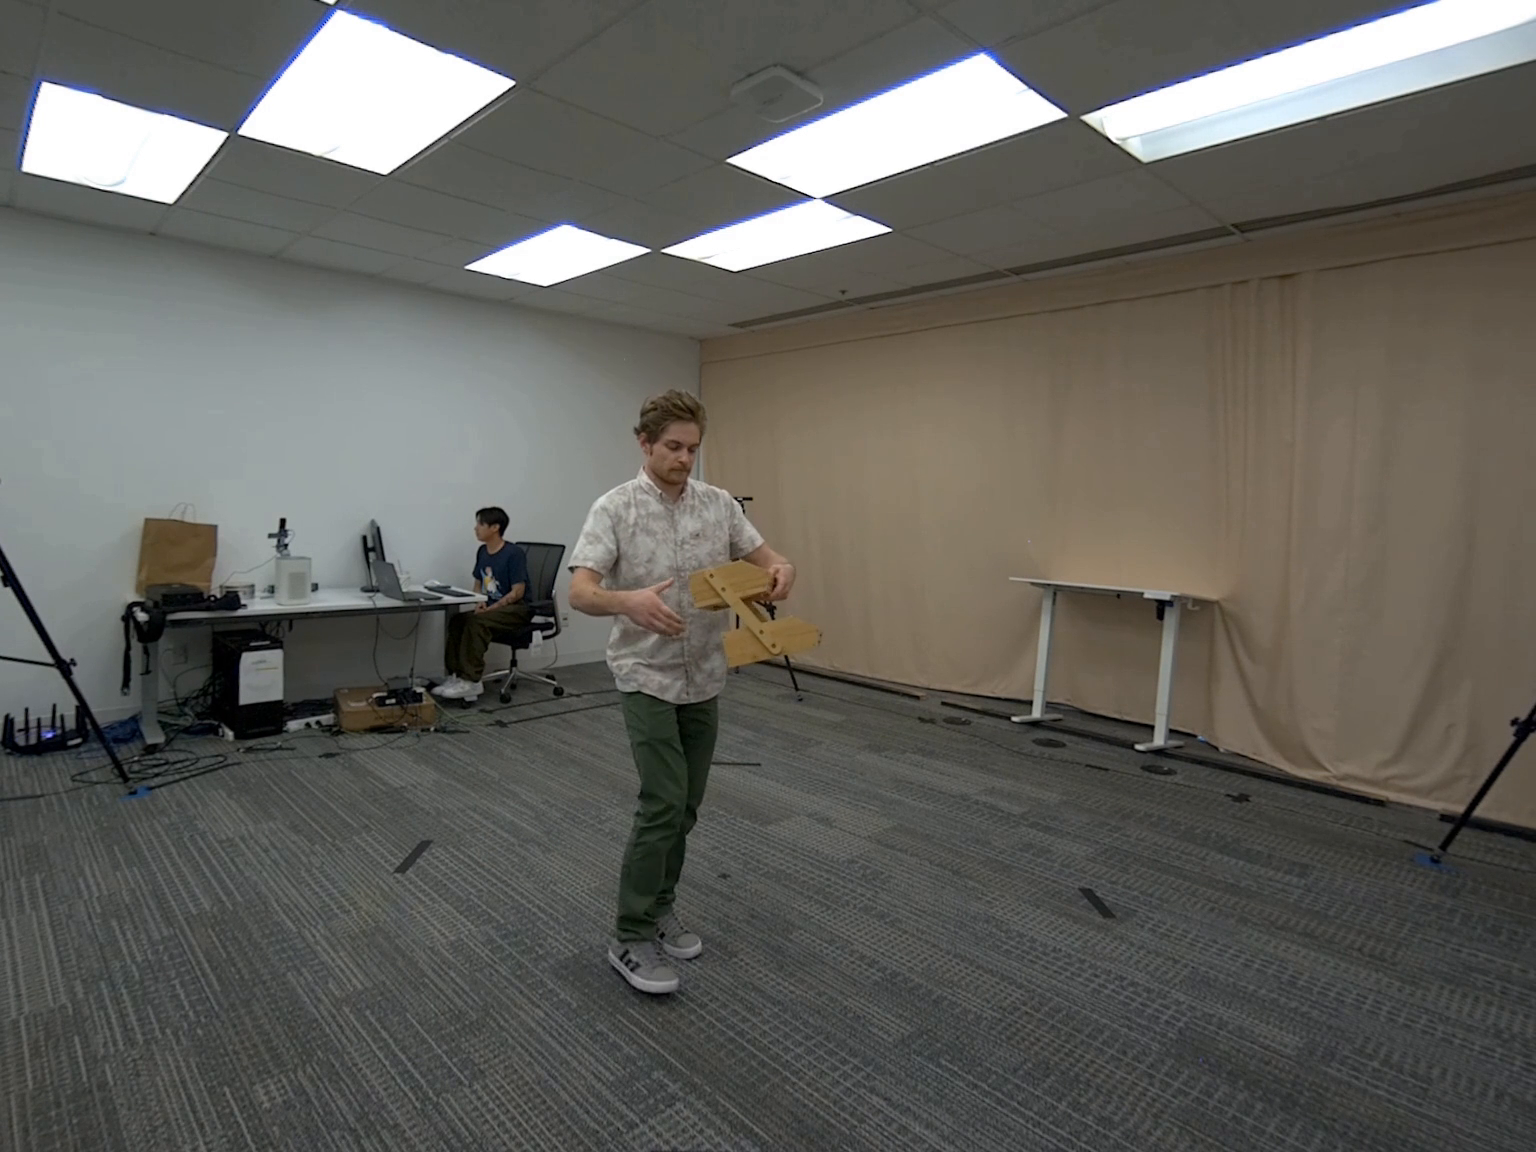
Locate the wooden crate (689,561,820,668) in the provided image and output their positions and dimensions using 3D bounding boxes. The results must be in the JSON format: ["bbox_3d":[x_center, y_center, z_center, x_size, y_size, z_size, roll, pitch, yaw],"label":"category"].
[{"bbox_3d":[-0.035,0.103,2.264,0.302,0.275,0.321,-14,-7,2],"label":"wooden crate"}]
